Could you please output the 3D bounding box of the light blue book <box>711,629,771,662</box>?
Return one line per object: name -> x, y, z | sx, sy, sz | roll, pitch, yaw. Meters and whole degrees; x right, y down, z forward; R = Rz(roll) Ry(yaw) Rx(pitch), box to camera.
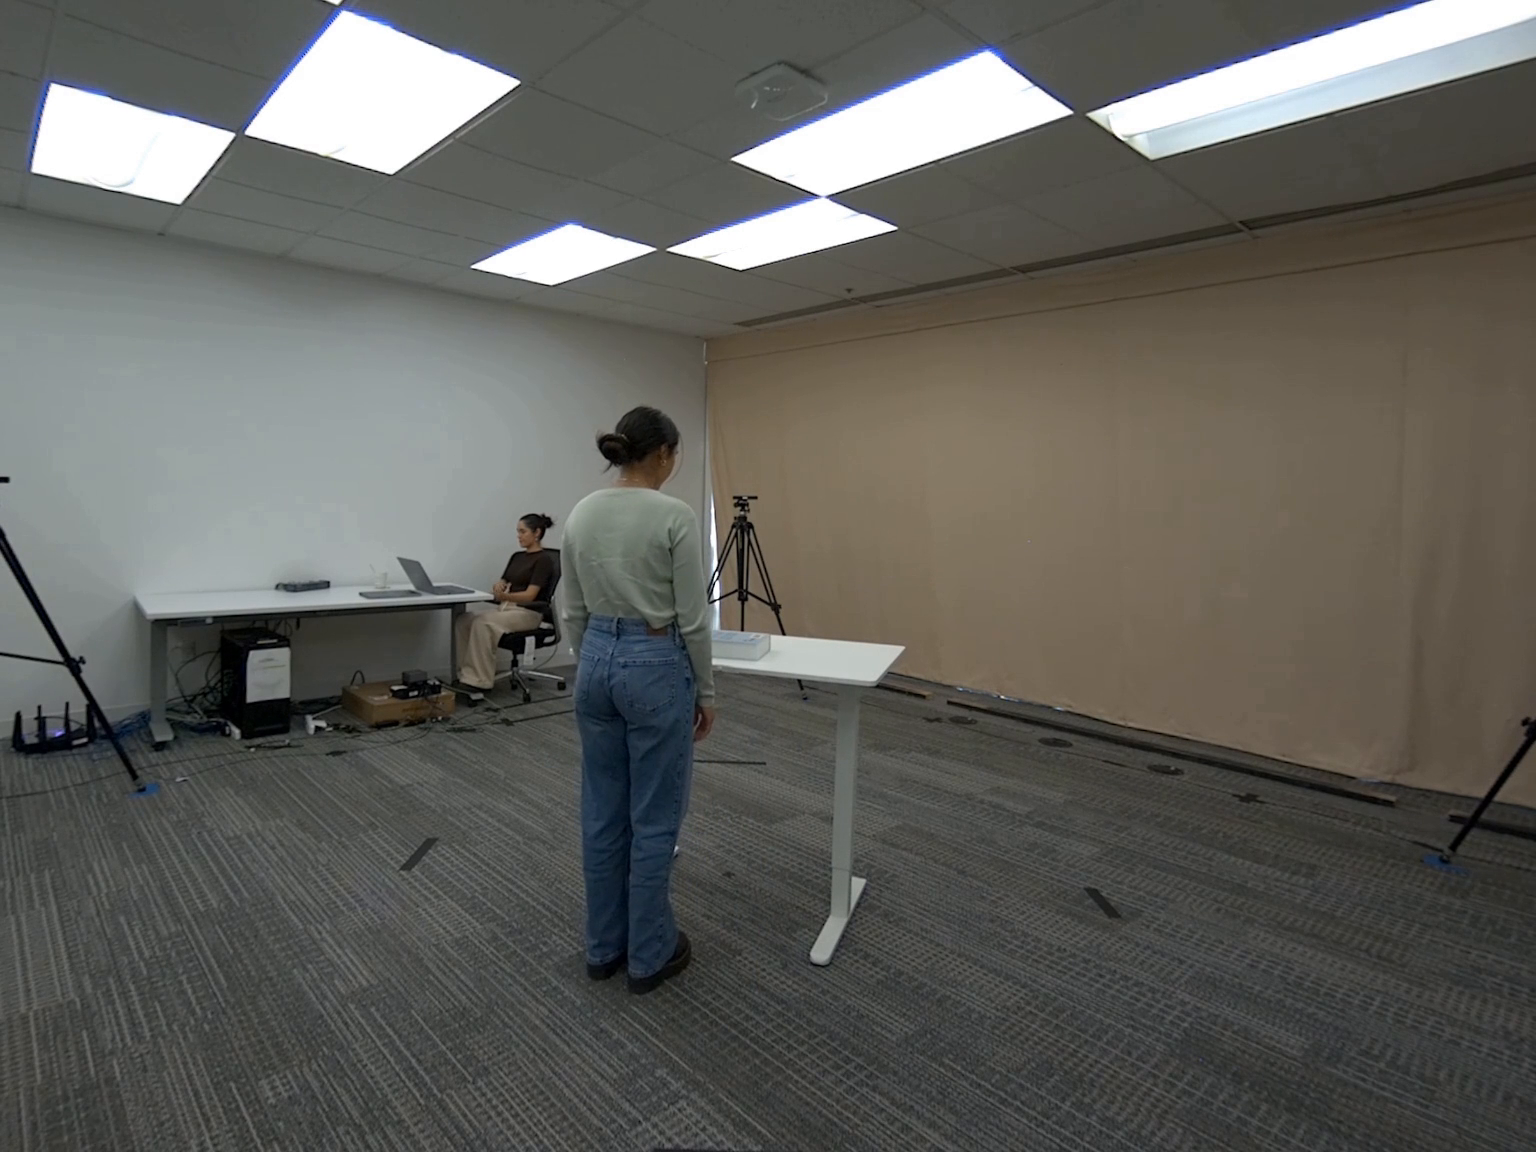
light blue book -> -0.146, 0.227, 2.755 | 0.264, 0.059, 0.190 | 3, 7, 15
